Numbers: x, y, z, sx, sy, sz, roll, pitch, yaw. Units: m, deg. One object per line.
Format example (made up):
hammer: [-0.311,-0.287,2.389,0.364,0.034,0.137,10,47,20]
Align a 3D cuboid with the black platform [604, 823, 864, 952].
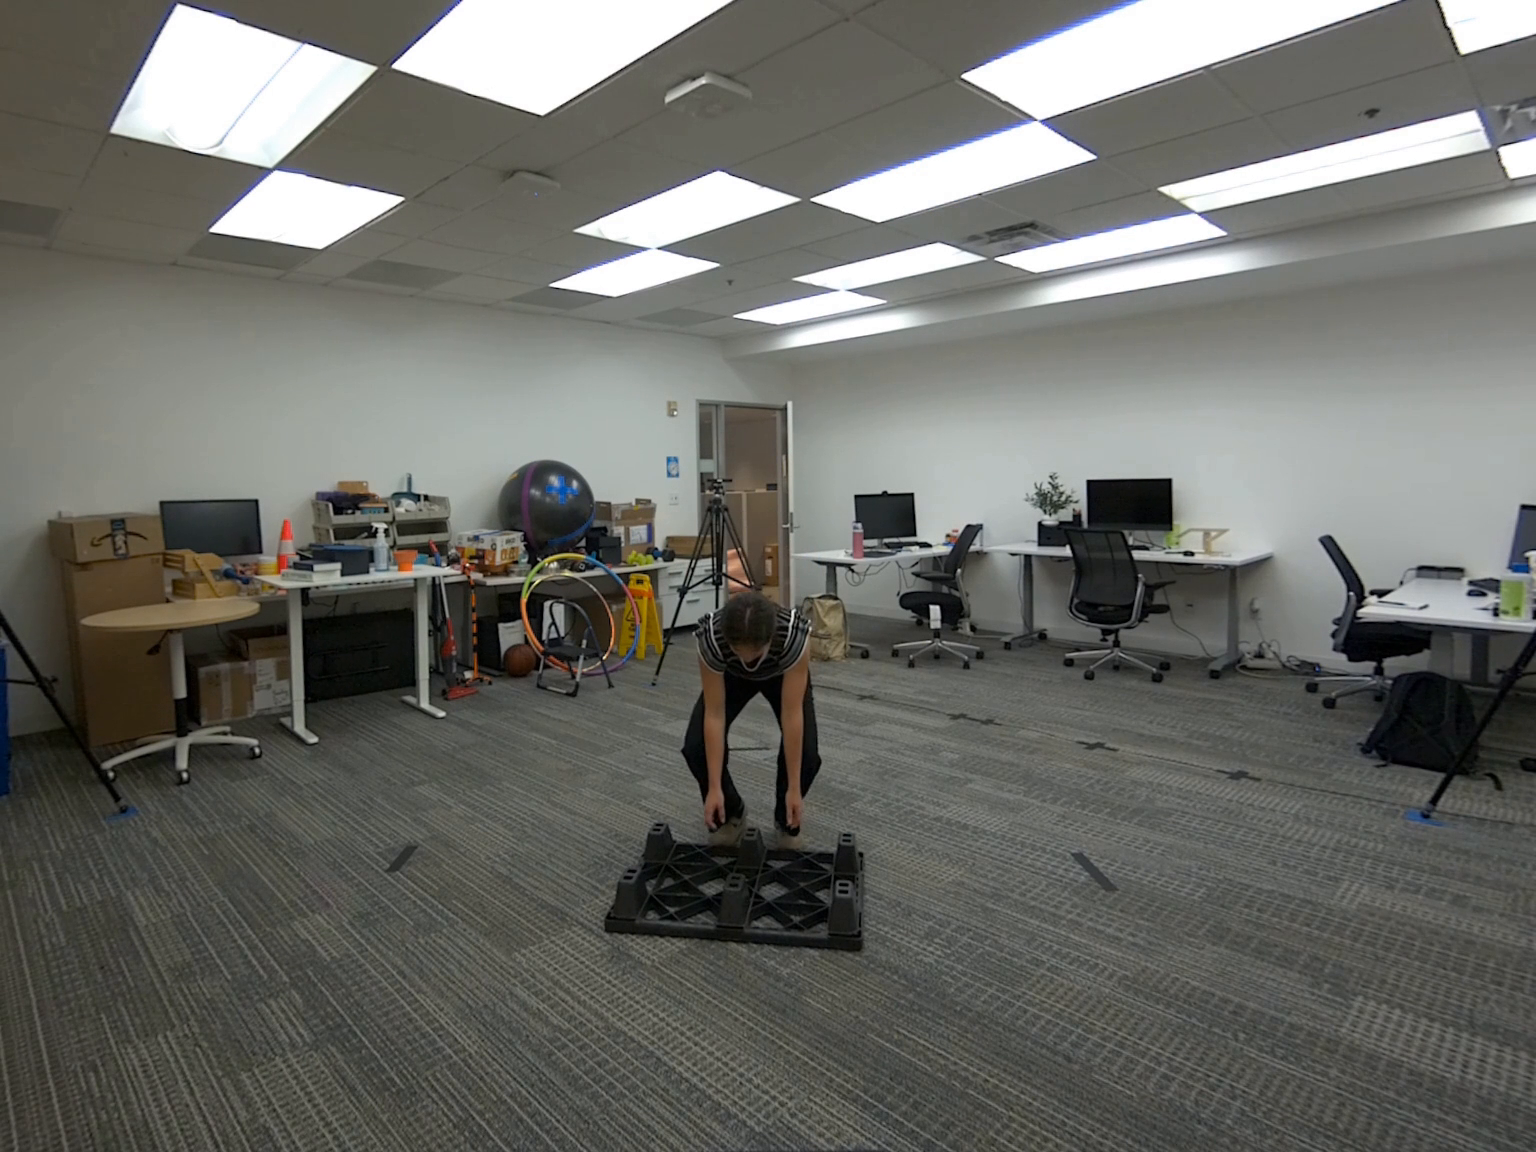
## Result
black platform: [-0.085,1.006,2.869,0.813,0.143,0.602,0,6,8]
